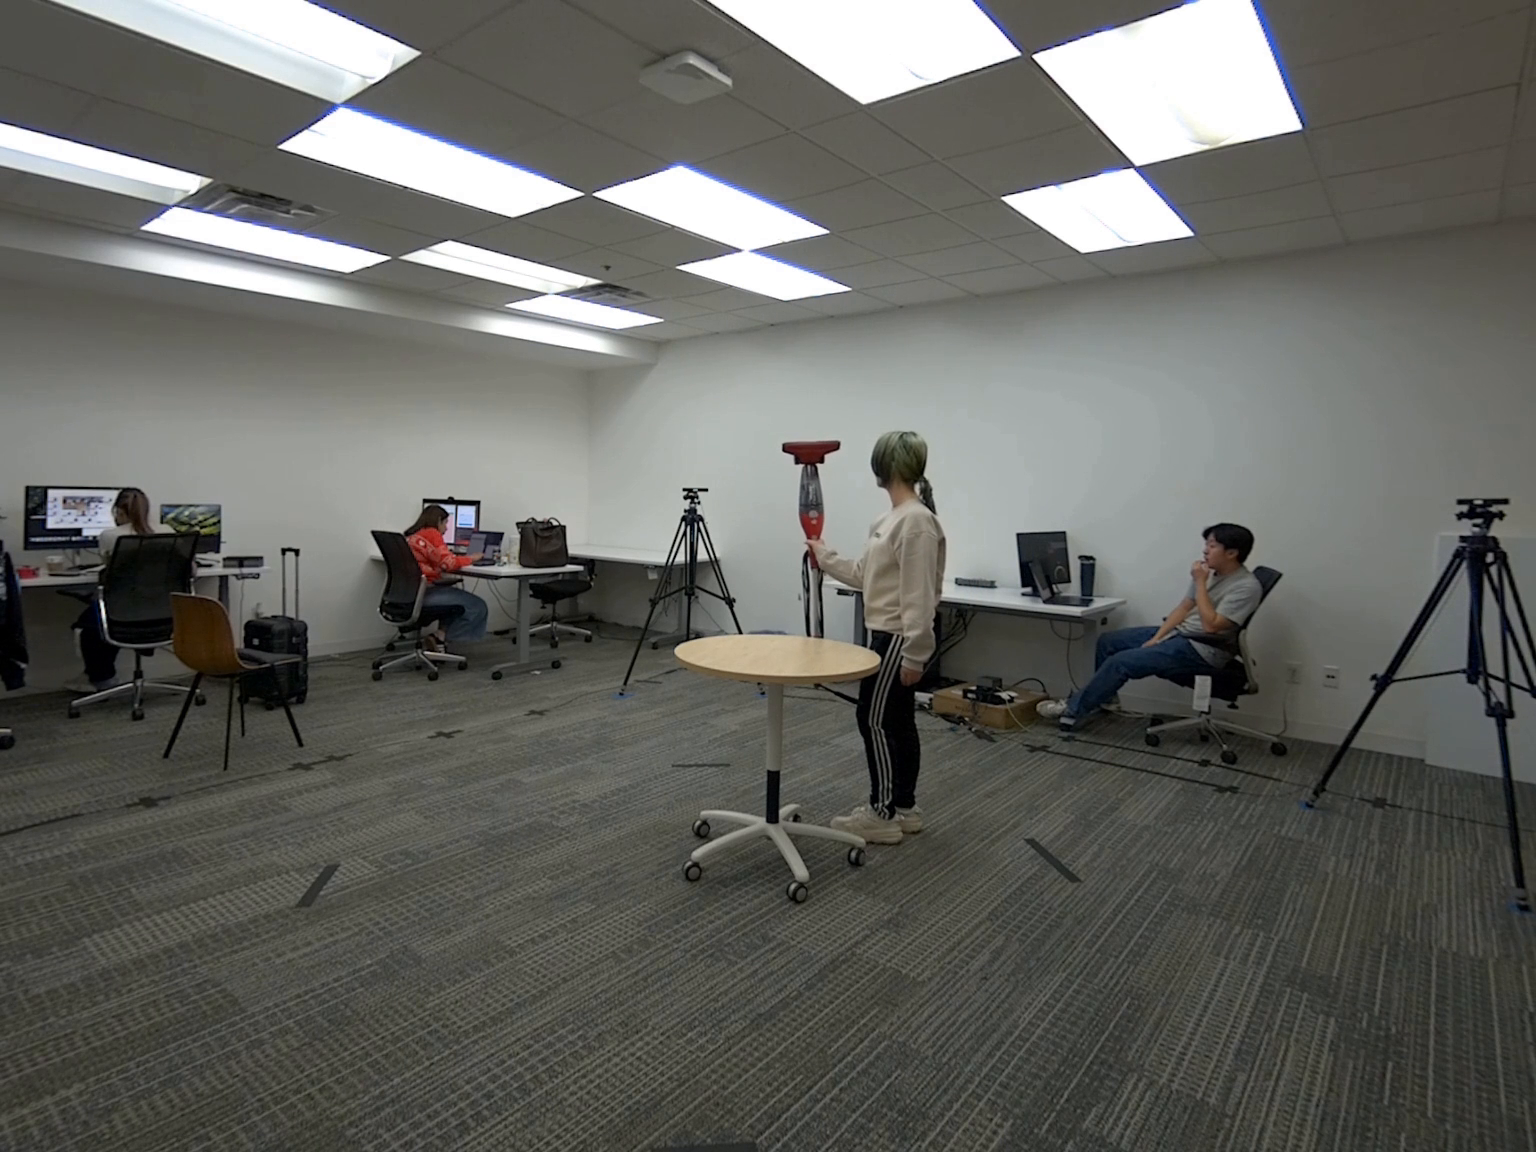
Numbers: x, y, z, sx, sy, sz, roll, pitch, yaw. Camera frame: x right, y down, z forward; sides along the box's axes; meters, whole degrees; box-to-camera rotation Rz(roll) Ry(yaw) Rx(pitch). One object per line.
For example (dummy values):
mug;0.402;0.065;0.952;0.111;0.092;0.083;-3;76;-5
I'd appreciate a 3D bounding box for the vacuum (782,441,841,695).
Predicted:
vacuum;0.200;-0.045;3.778;0.252;1.046;0.144;-2;3;0
